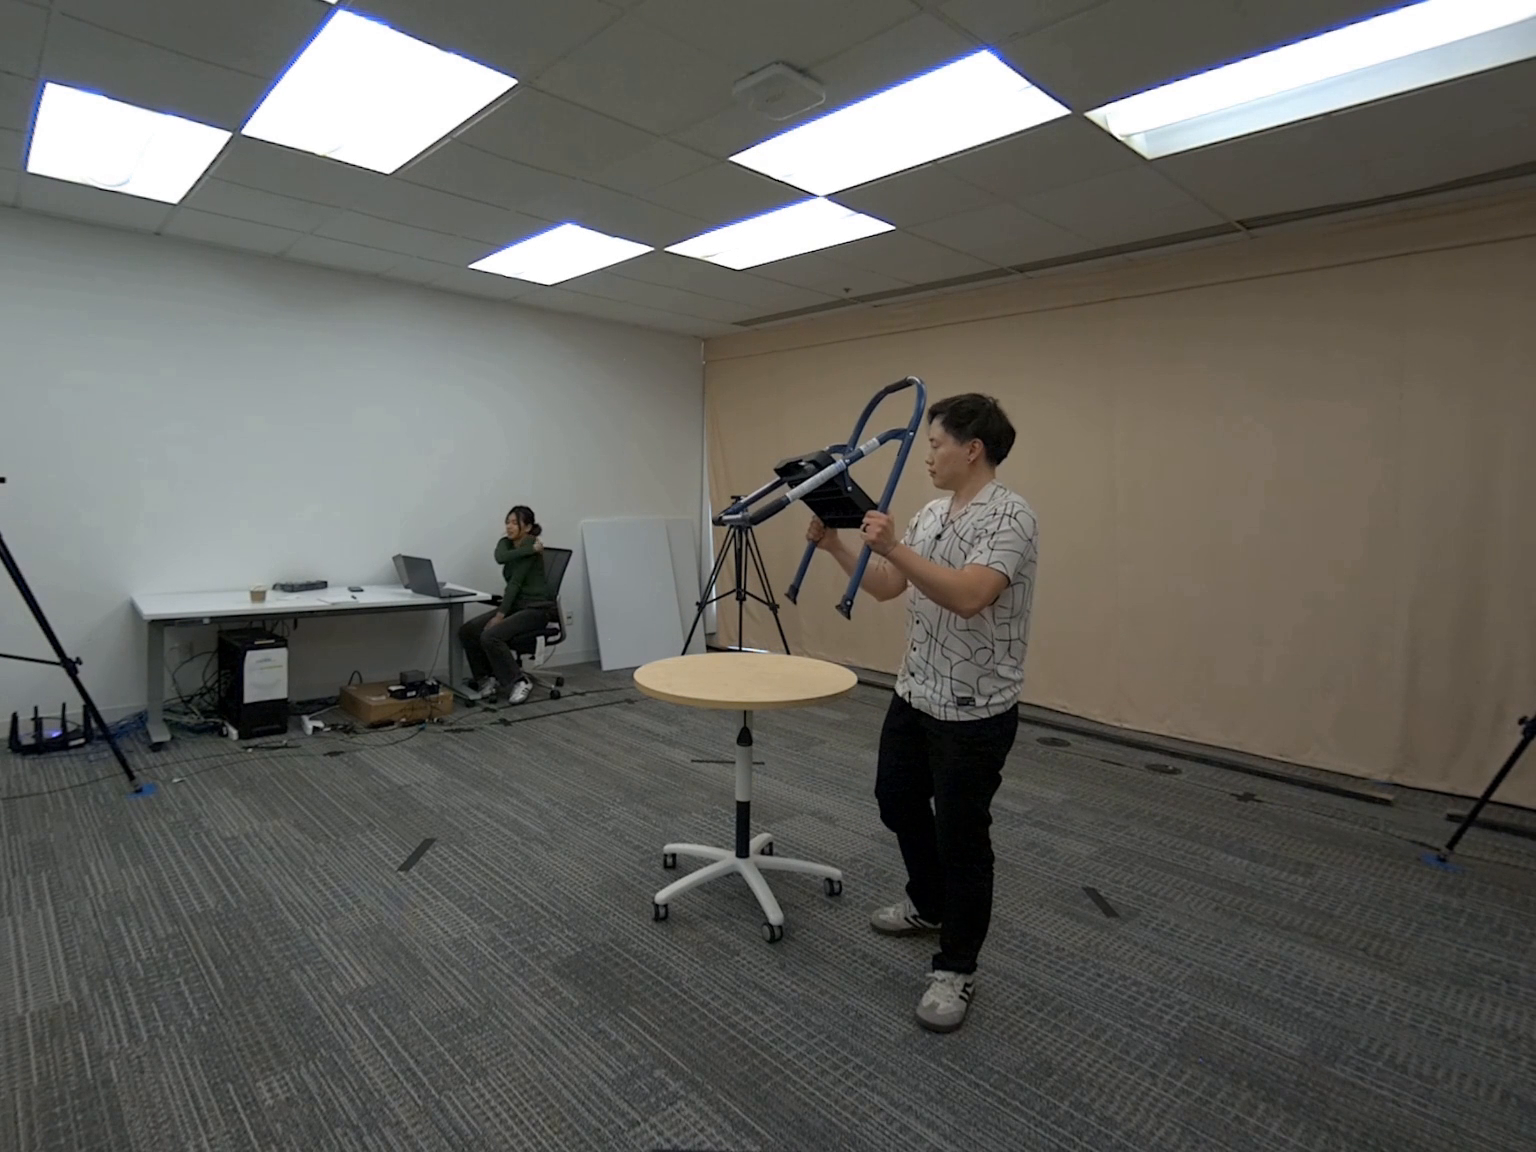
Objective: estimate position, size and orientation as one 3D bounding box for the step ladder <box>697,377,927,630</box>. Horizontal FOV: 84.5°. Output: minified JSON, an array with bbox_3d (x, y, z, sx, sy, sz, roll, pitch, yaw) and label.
[{"bbox_3d":[0.205,-0.247,2.236,0.345,0.606,0.436,43,-8,-13],"label":"step ladder"}]
